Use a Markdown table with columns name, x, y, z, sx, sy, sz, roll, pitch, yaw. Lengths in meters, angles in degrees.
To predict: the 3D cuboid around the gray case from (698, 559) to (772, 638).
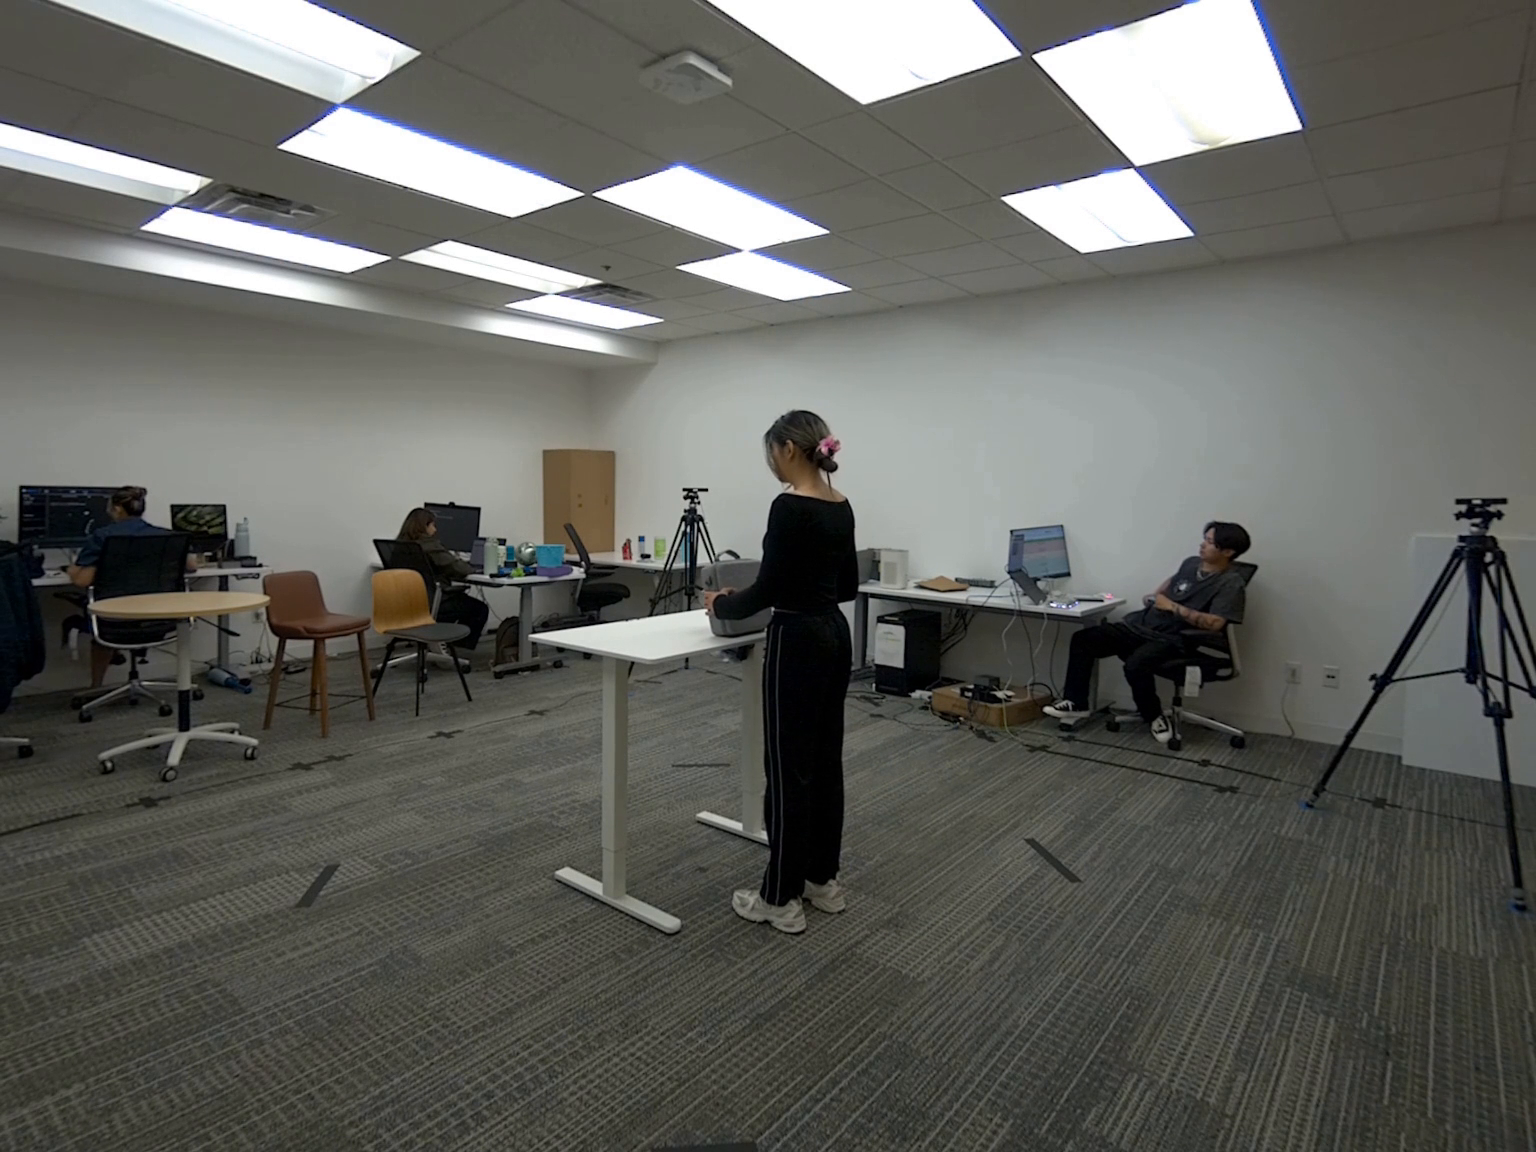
| name | x | y | z | sx | sy | sz | roll | pitch | yaw |
| --- | --- | --- | --- | --- | --- | --- | --- | --- | --- |
| gray case | -0.111 | 0.067 | 2.991 | 0.107 | 0.262 | 0.249 | -14 | -7 | 39 |
